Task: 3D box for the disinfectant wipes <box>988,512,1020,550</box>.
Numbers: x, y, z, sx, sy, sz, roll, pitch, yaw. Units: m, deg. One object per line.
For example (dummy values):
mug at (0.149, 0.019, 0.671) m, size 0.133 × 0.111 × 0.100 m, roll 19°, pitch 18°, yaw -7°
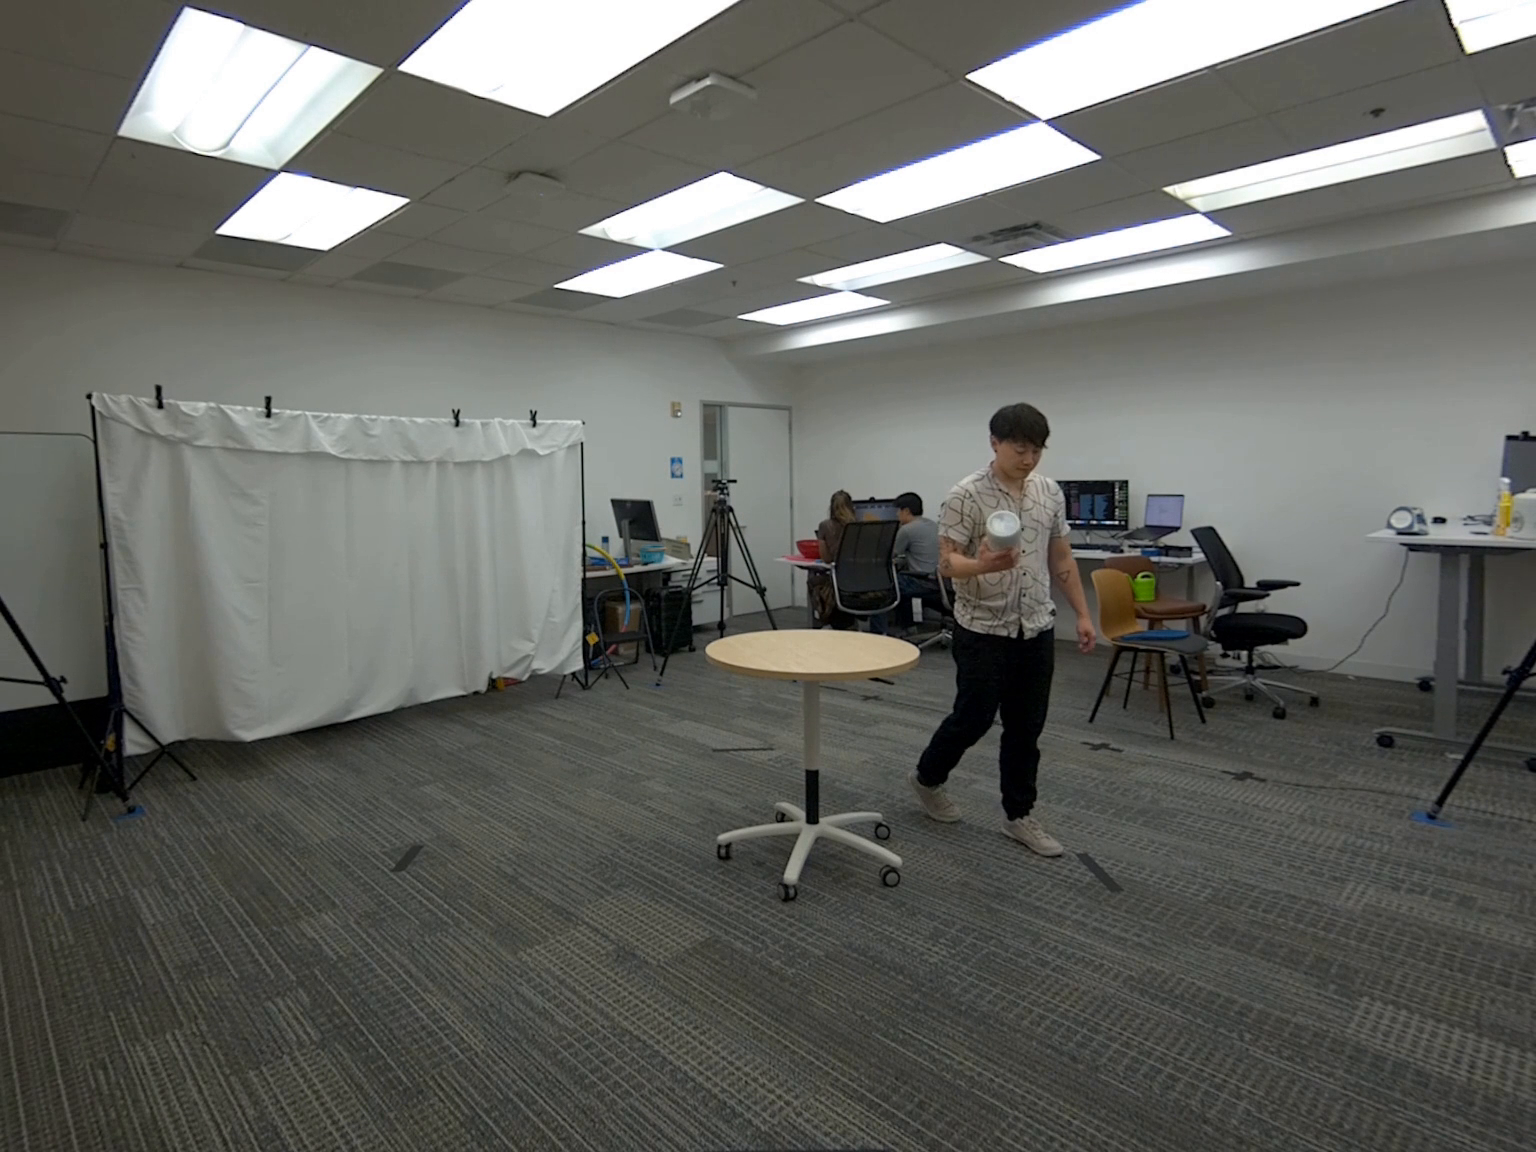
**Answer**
disinfectant wipes at (0.818, -0.113, 2.921) m, size 0.119 × 0.120 × 0.210 m, roll 0°, pitch -33°, yaw 12°
